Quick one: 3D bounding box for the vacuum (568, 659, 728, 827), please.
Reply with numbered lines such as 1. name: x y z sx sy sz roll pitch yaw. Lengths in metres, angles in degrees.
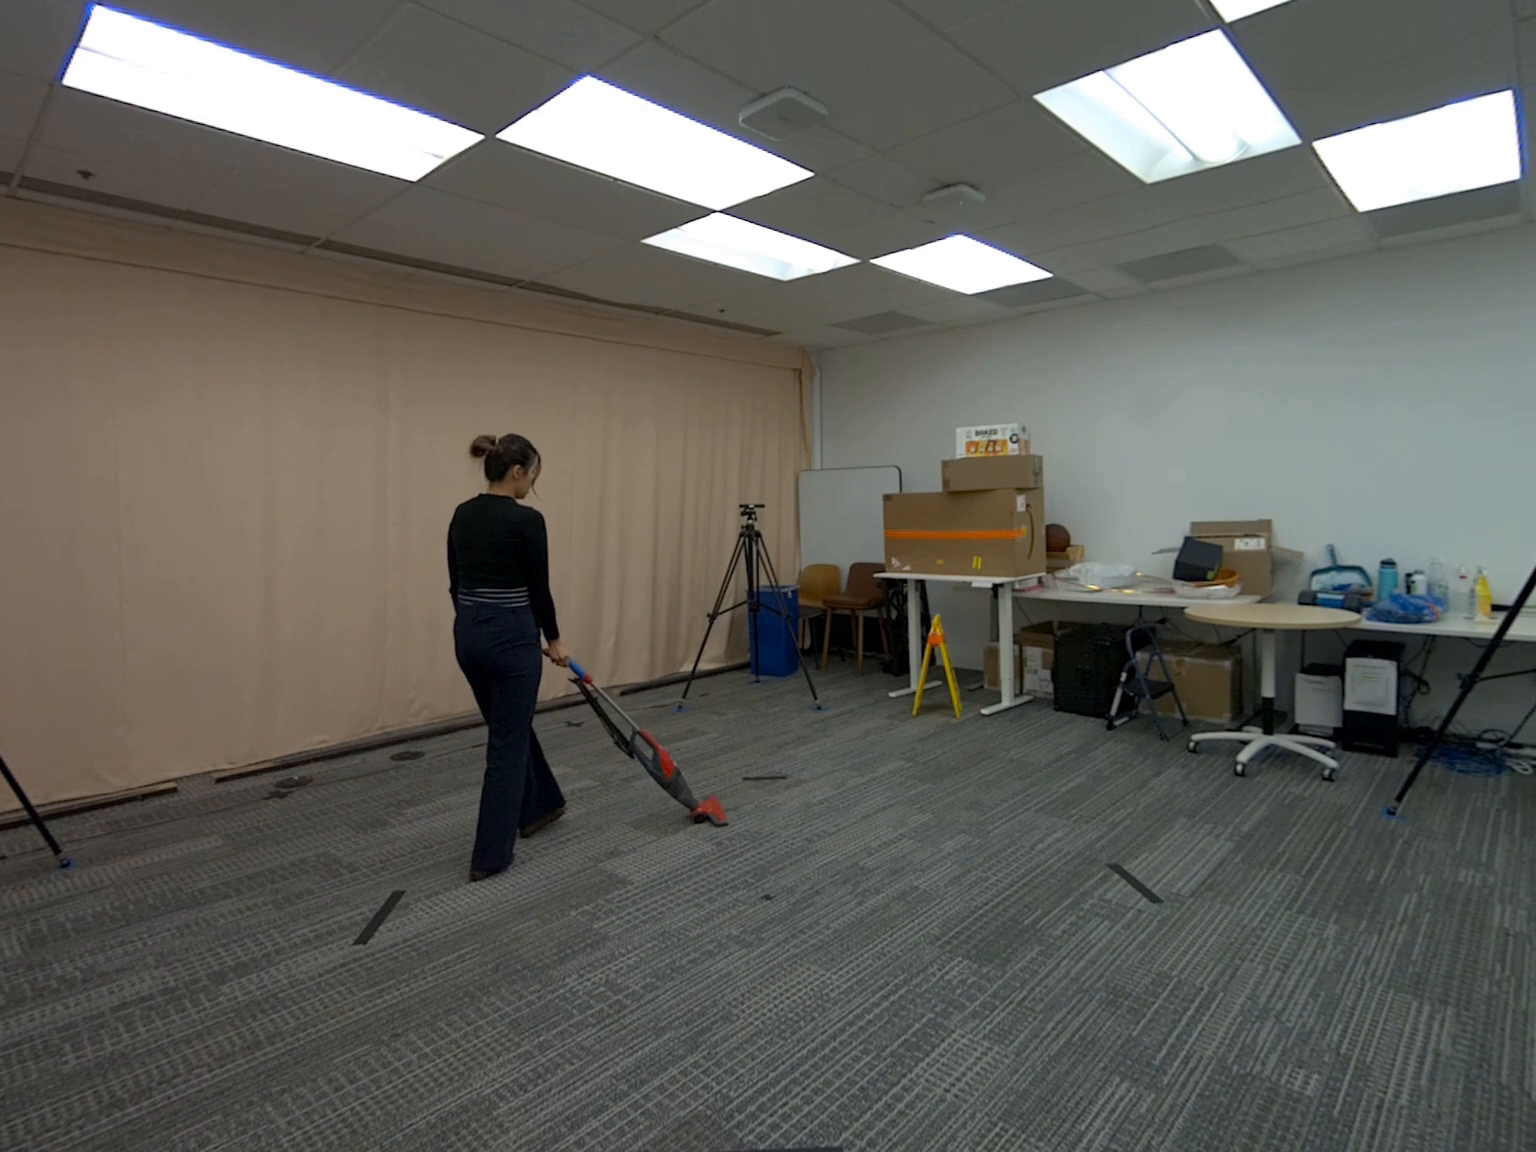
1. vacuum: -0.580 0.695 3.615 0.143 1.029 0.258 -43 17 -8
